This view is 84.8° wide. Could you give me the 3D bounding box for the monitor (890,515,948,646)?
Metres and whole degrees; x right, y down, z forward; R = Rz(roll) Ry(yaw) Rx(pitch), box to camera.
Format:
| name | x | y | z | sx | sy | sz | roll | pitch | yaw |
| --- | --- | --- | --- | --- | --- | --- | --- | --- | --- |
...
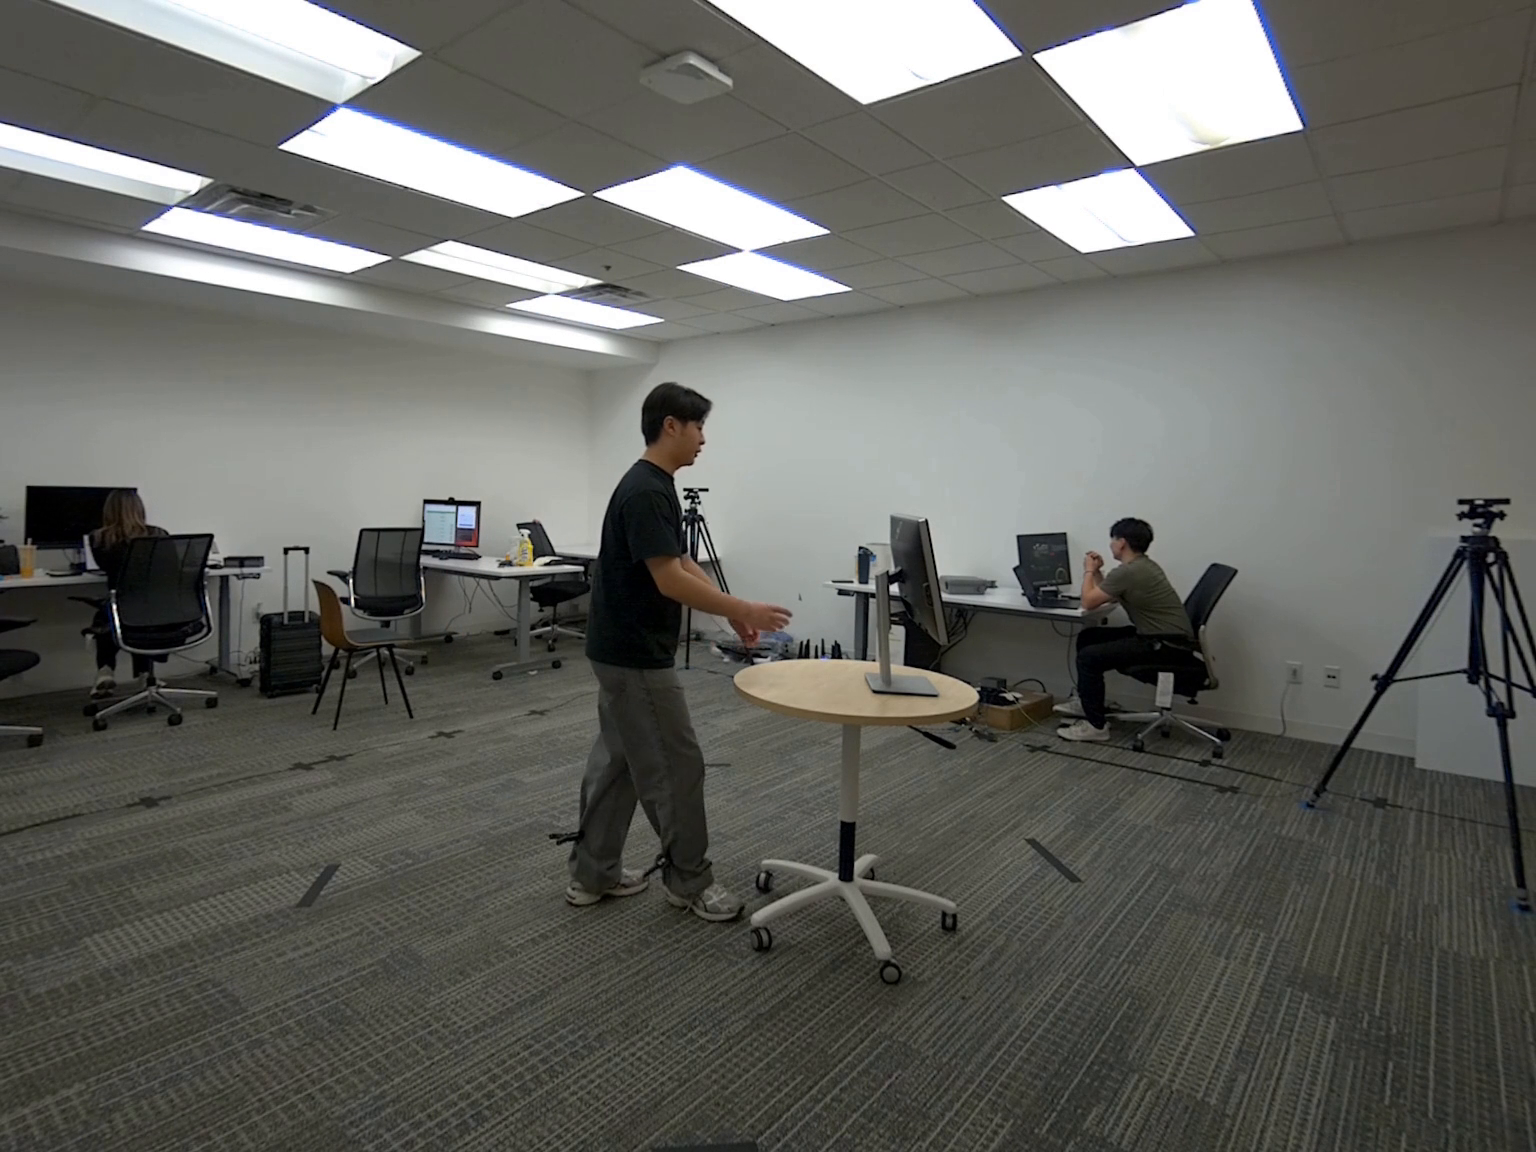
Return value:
| name | x | y | z | sx | sy | sz | roll | pitch | yaw |
| --- | --- | --- | --- | --- | --- | --- | --- | --- | --- |
| monitor | 0.434 | 0.091 | 2.689 | 0.223 | 0.564 | 0.561 | 5 | 5 | 2 |
